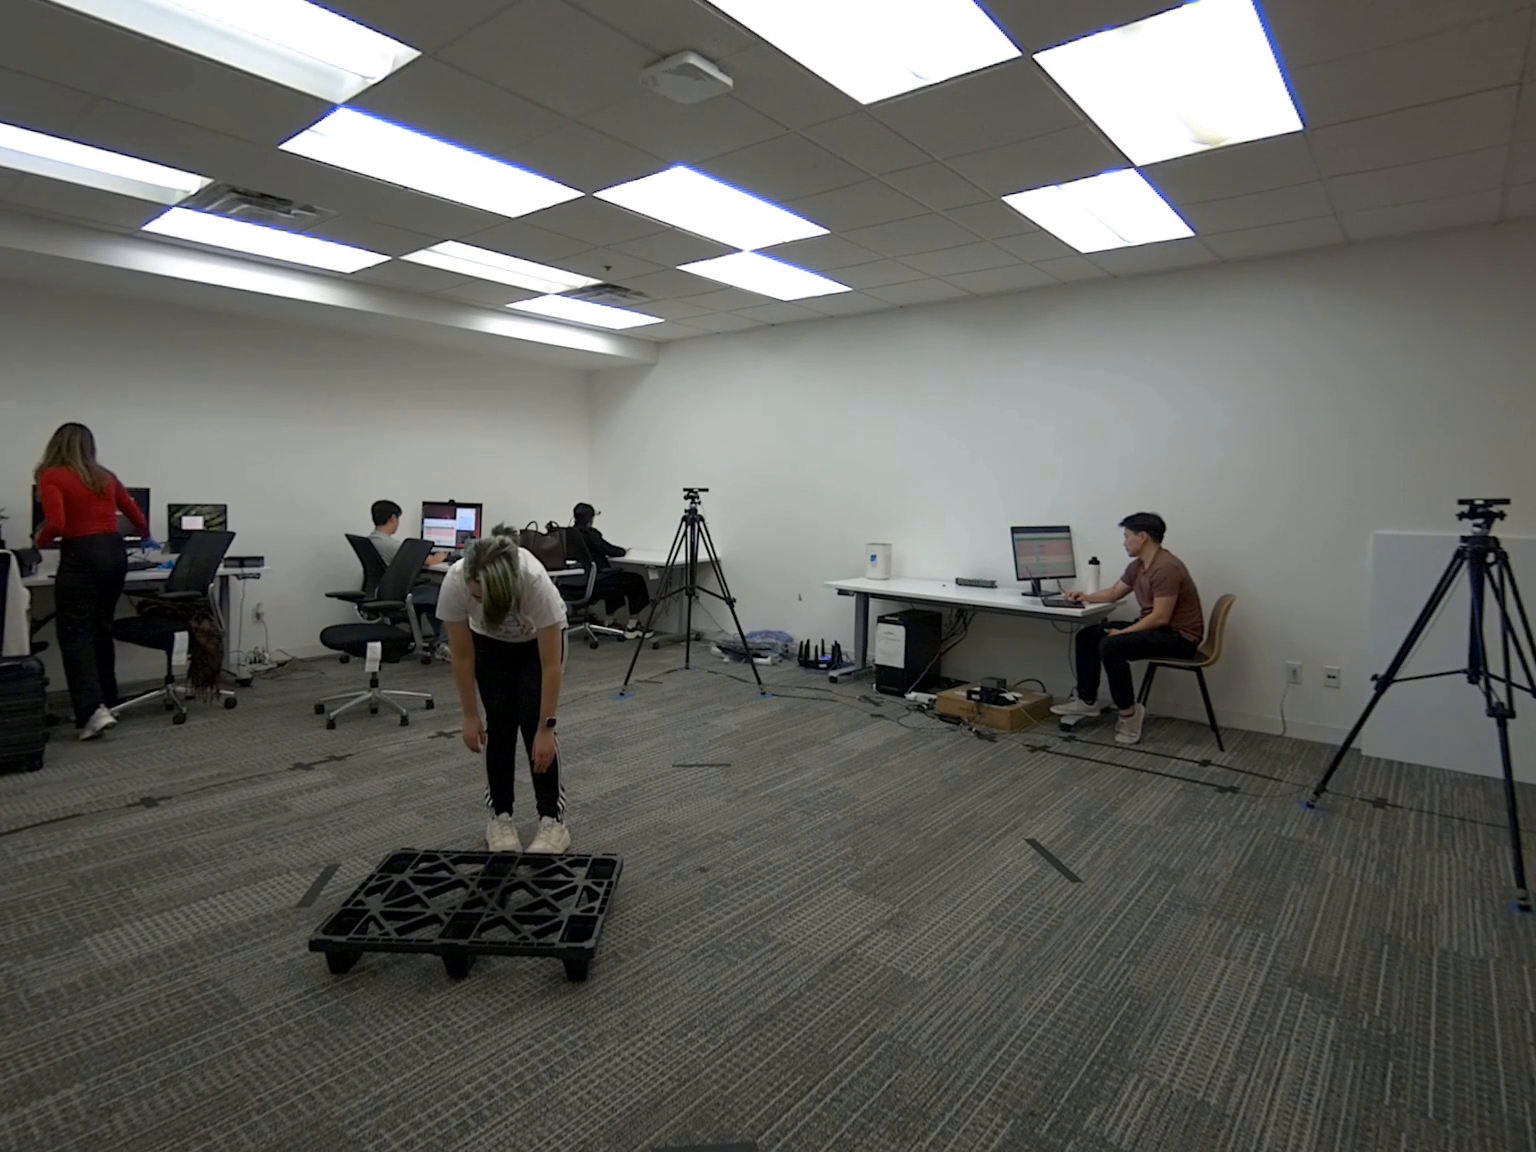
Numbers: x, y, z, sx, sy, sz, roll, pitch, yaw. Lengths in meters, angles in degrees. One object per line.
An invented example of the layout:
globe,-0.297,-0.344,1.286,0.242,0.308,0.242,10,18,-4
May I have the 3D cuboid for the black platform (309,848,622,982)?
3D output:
black platform,-0.889,1.037,2.627,0.807,0.142,0.607,1,7,0
